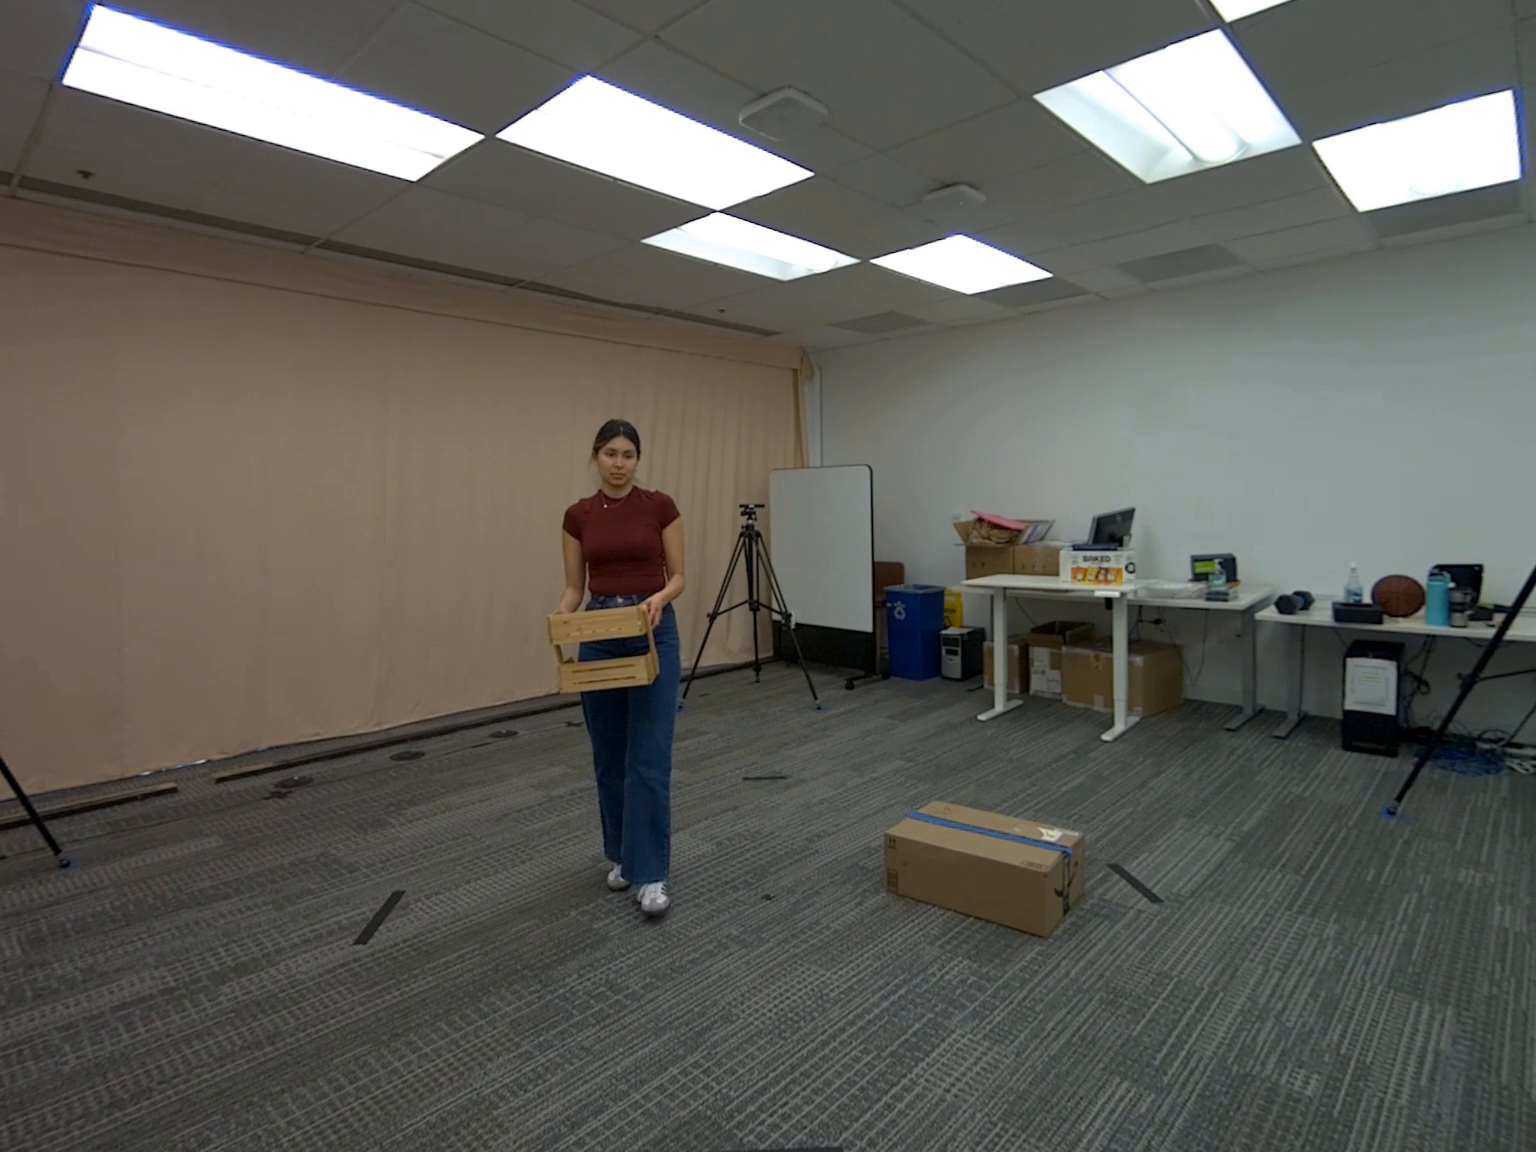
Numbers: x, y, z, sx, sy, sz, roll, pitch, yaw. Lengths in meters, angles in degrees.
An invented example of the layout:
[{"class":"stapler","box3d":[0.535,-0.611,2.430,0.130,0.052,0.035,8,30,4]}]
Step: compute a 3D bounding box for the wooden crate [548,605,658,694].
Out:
[{"class":"wooden crate","box3d":[-0.540,0.231,2.831,0.325,0.273,0.302,-6,1,1]}]
